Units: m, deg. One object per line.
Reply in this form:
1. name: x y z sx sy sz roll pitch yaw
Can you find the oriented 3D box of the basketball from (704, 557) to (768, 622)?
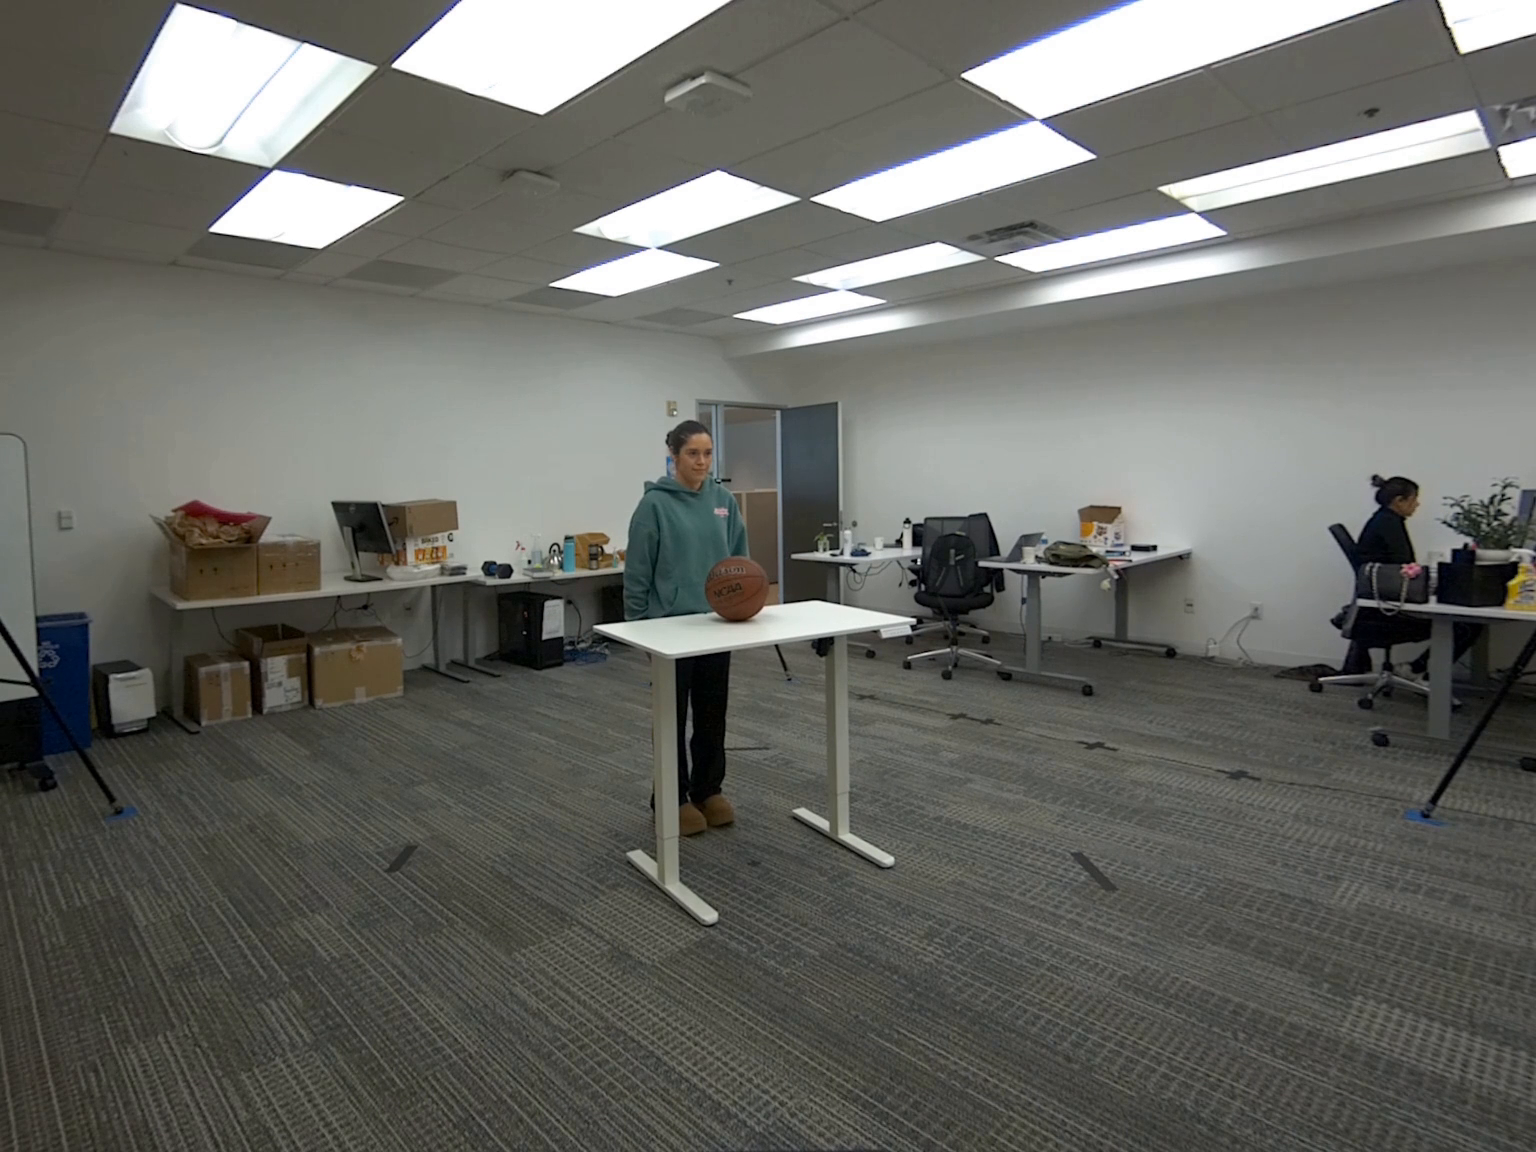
1. basketball: -0.114 0.046 3.115 0.236 0.235 0.237 -1 5 -2
